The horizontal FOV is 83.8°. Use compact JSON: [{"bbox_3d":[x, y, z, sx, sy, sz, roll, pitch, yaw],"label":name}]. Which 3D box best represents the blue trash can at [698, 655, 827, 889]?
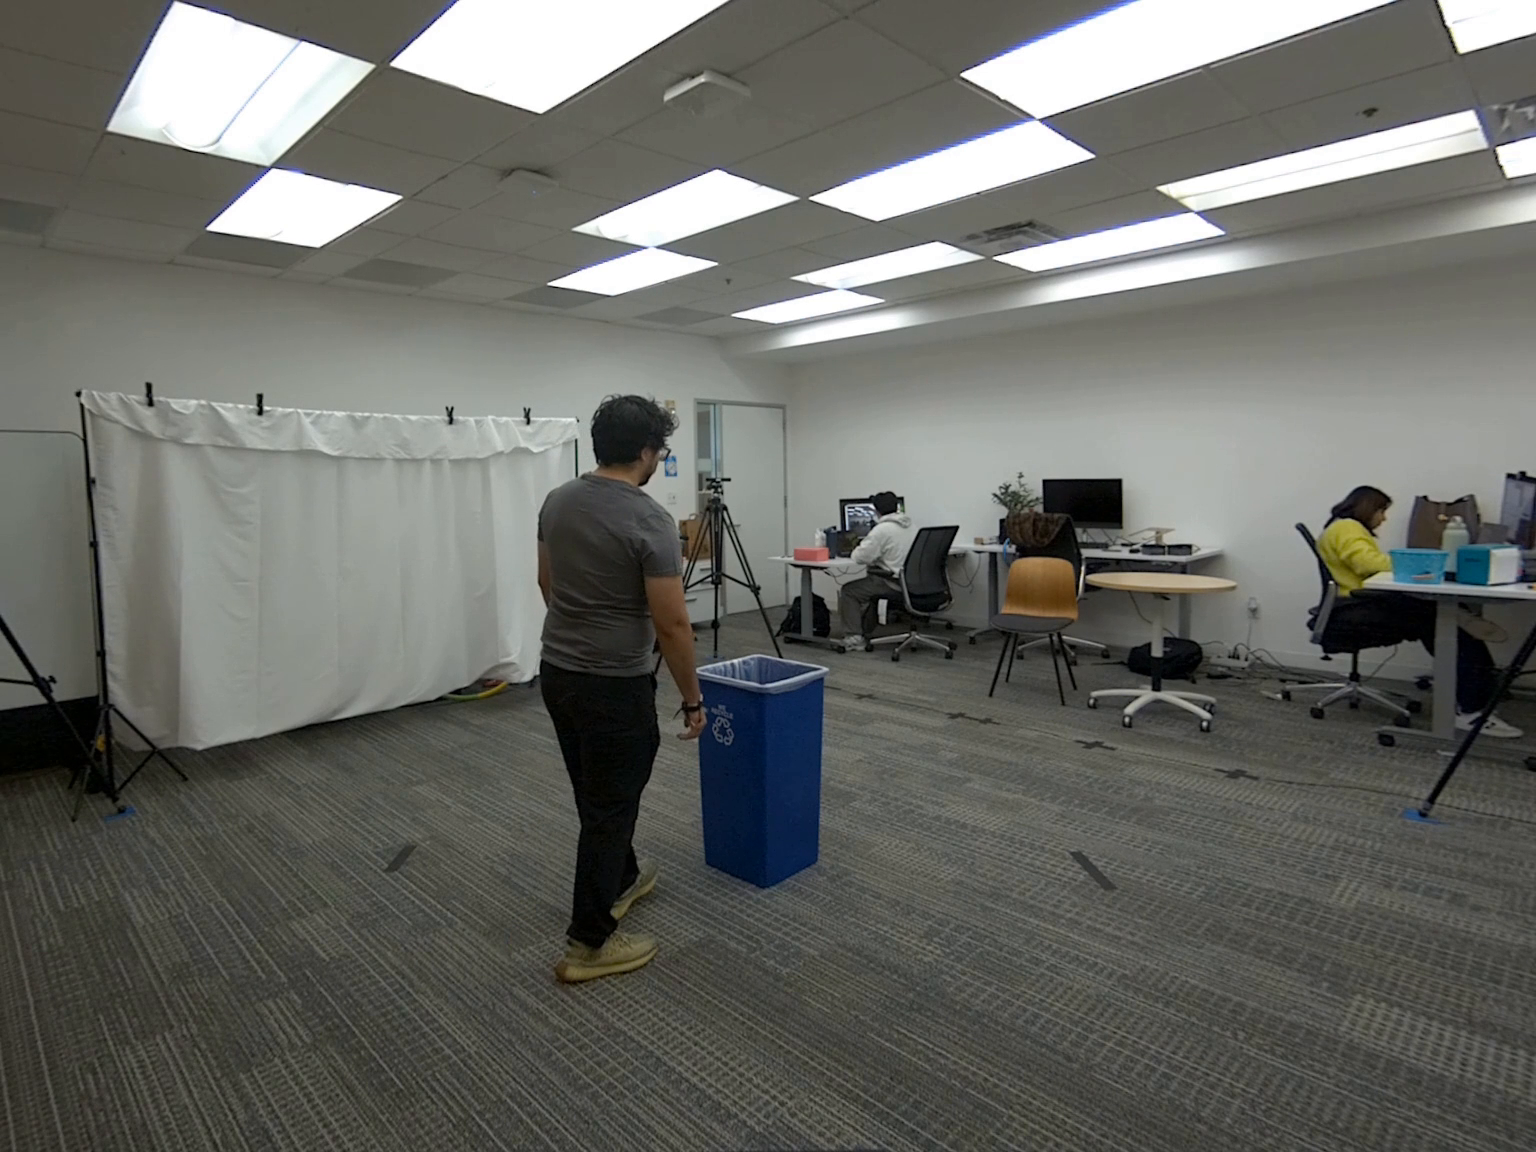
[{"bbox_3d":[-0.026,0.687,3.079,0.390,0.711,0.364,3,5,42],"label":"blue trash can"}]
